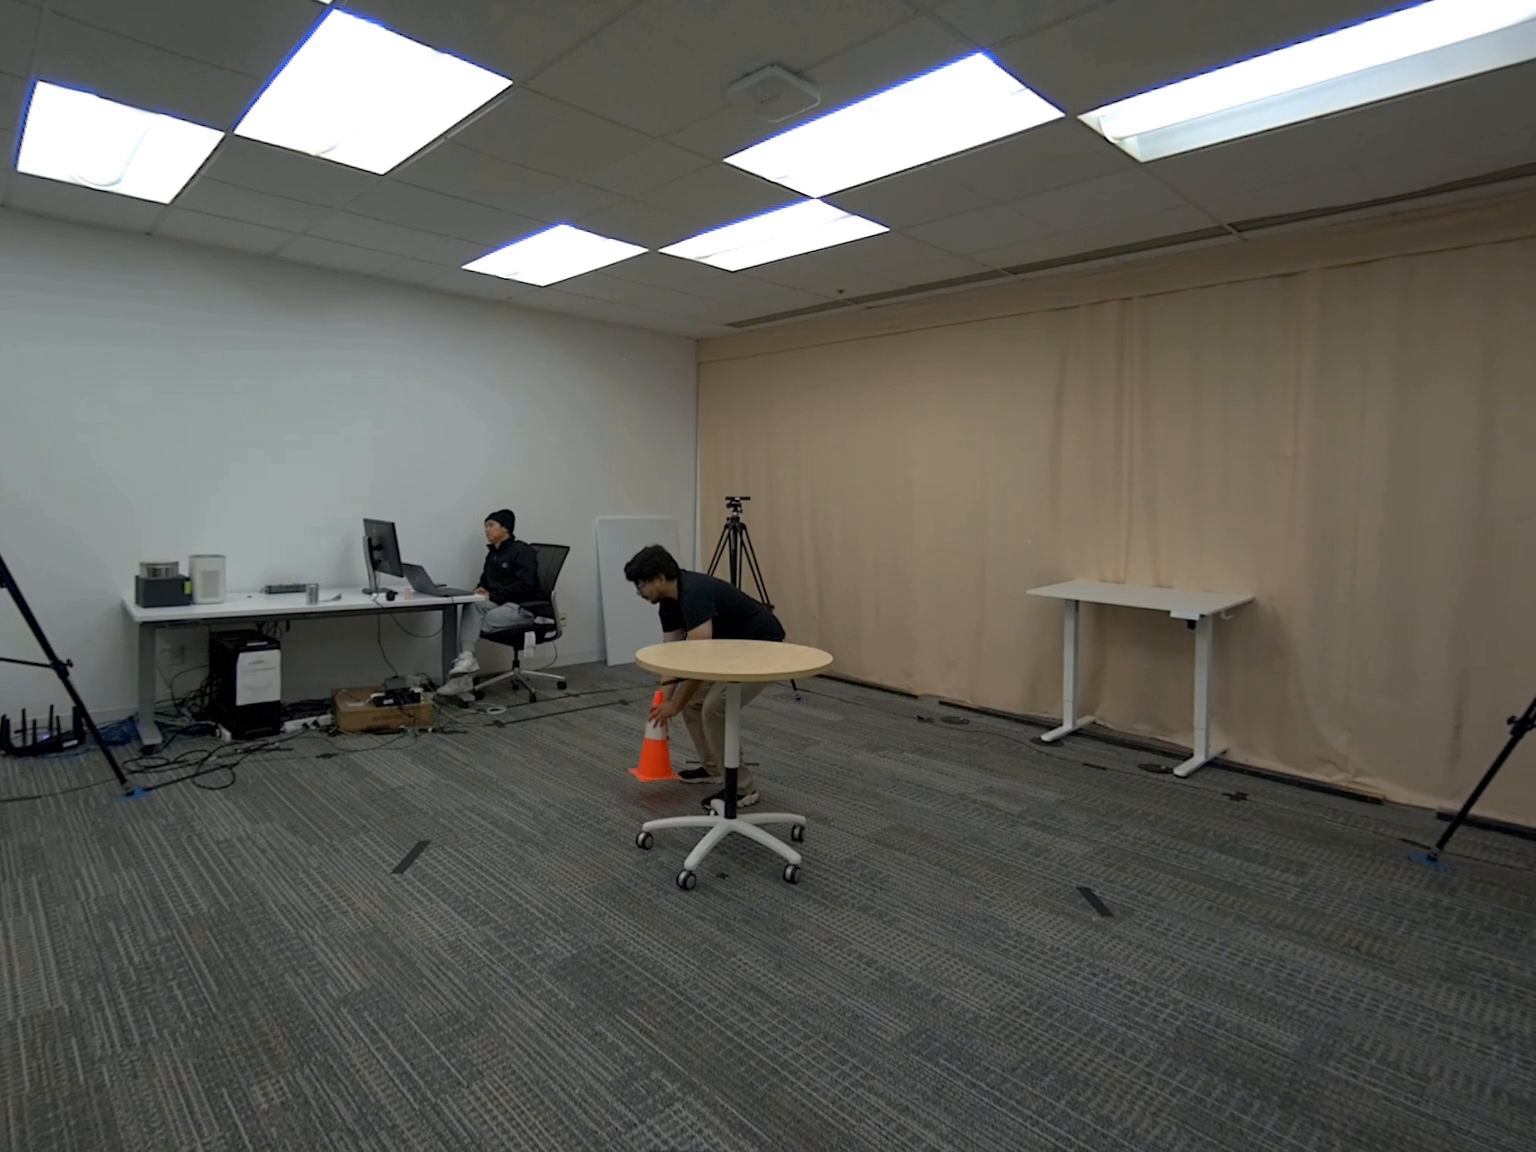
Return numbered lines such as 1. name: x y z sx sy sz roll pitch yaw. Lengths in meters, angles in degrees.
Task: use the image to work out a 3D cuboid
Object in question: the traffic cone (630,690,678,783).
1. traffic cone: -0.525 0.720 3.880 0.201 0.384 0.207 3 0 -24
